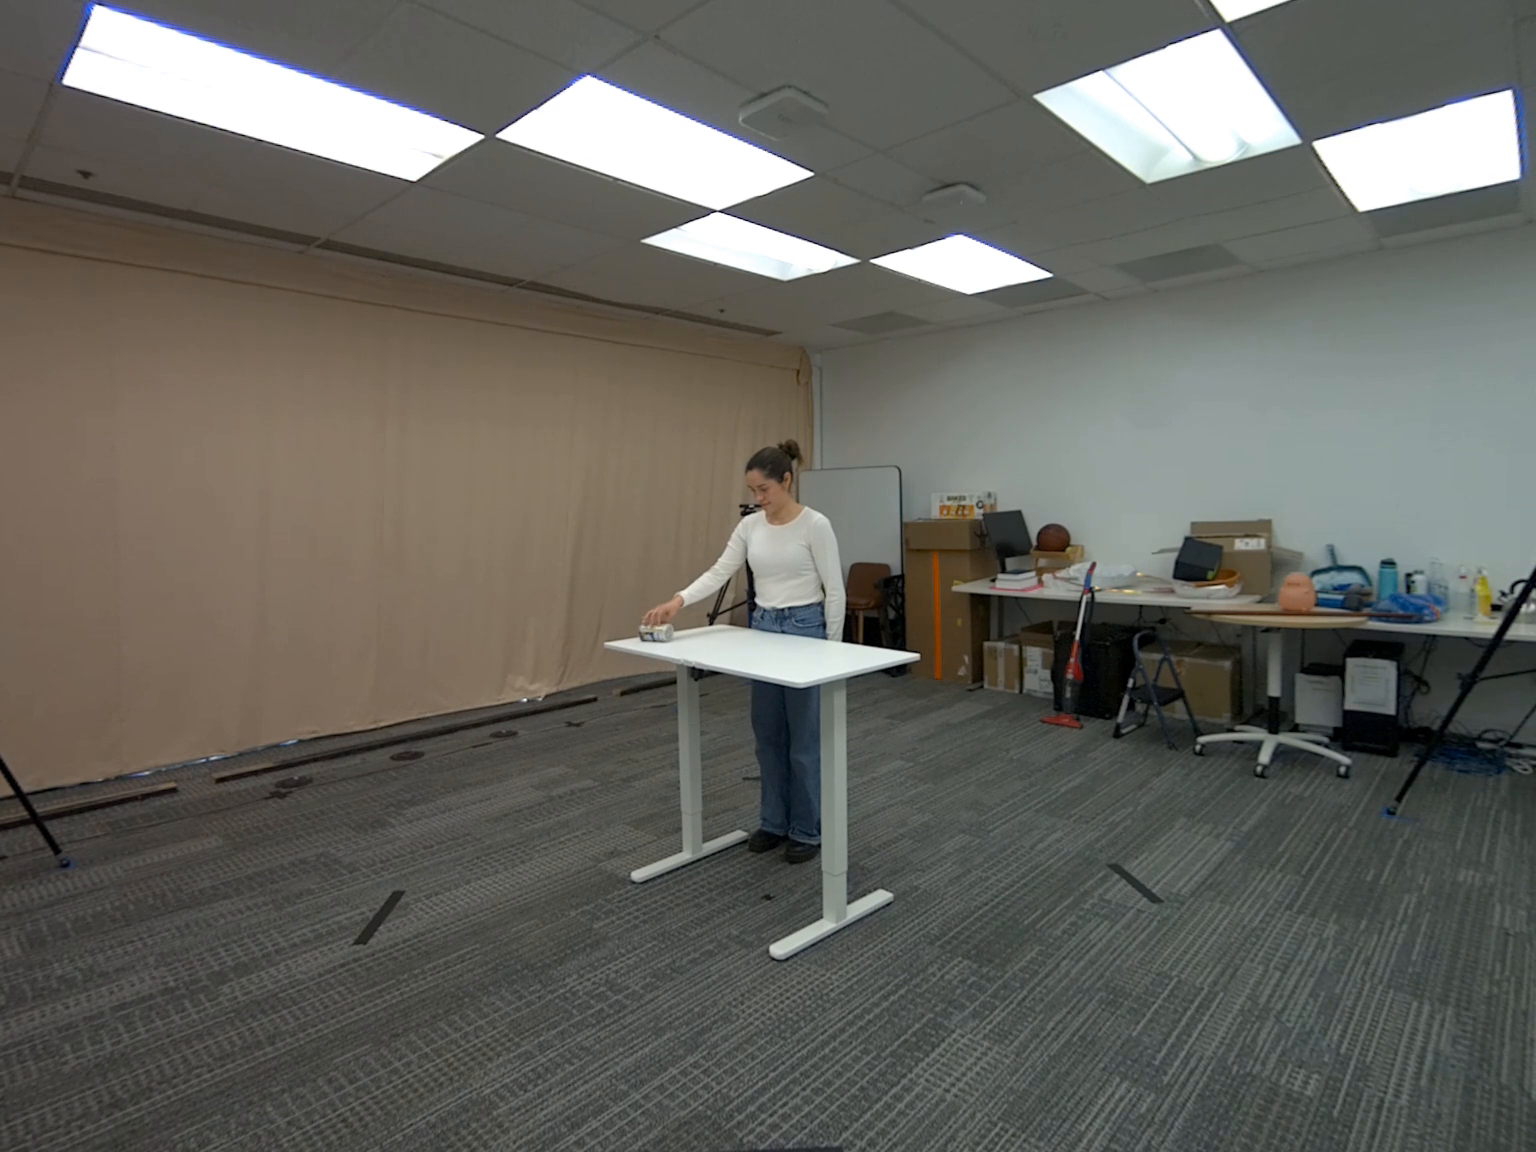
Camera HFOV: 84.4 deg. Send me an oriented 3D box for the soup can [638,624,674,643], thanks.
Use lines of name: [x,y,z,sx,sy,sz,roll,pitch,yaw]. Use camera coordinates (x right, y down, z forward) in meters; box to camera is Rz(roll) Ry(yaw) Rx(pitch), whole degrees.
soup can: [-0.417,0.216,3.168,0.123,0.067,0.066,-2,4,10]
